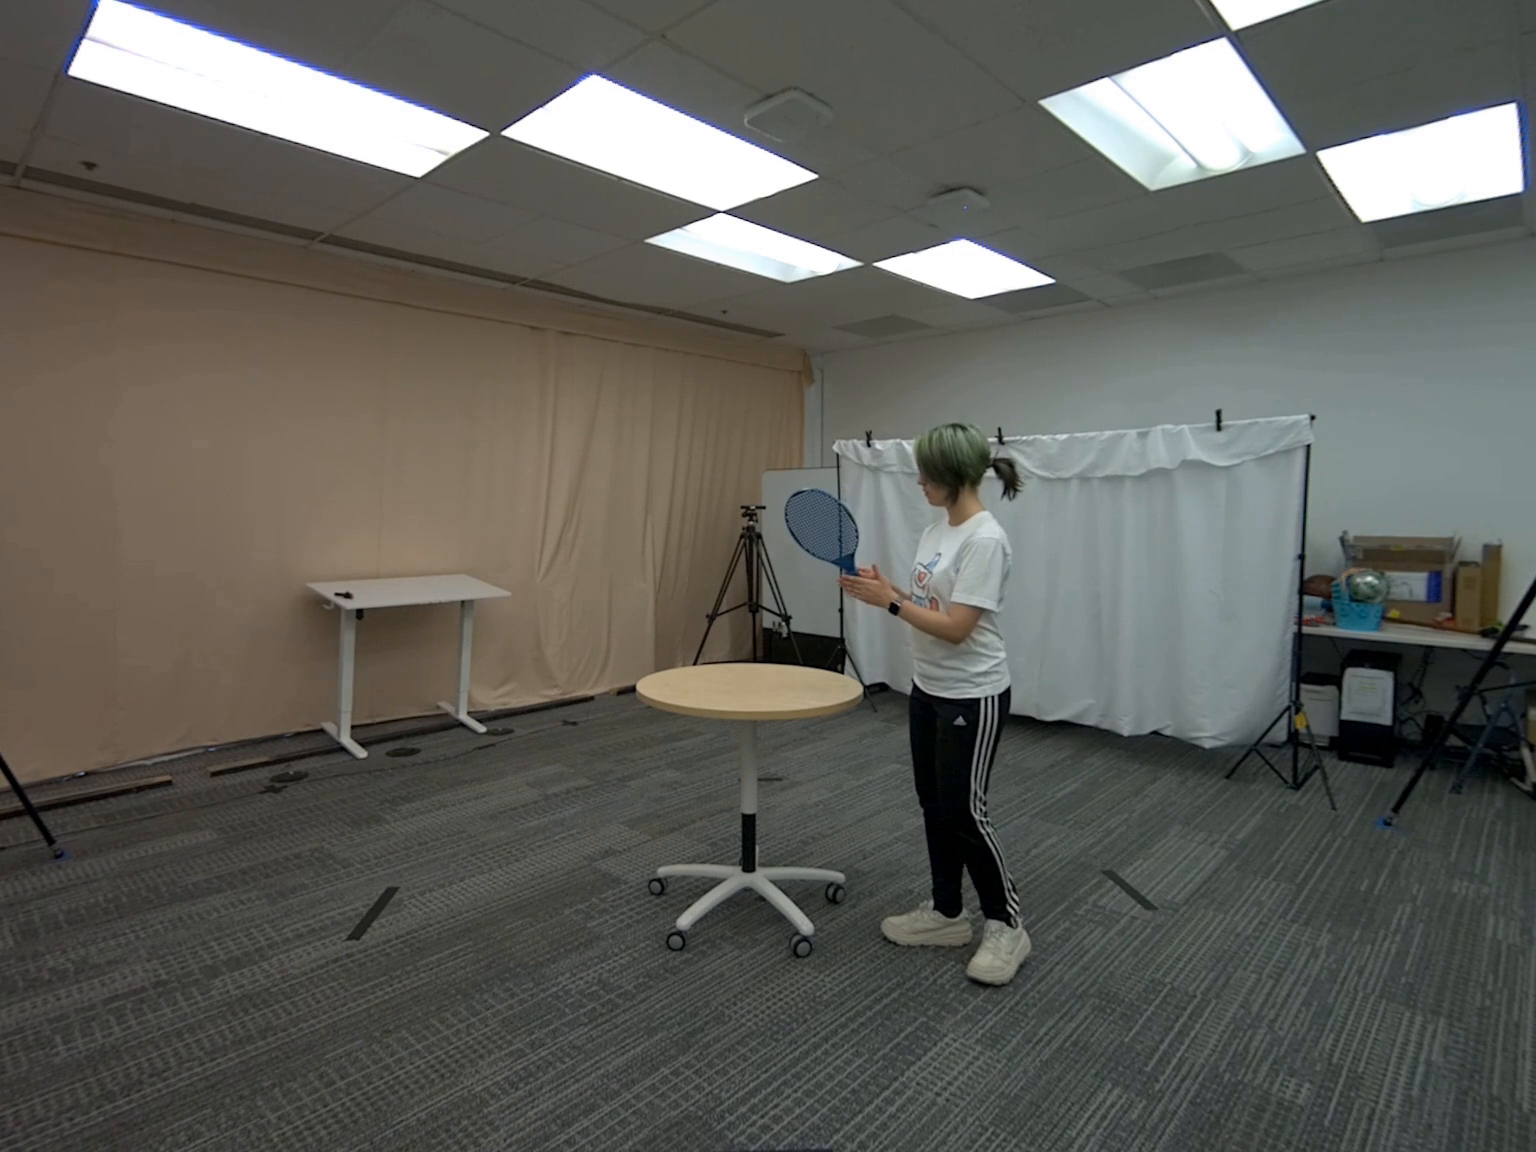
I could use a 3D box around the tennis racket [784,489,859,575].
[{"bbox_3d":[0.231,-0.089,2.560,0.217,0.429,0.031,-37,10,38],"label":"tennis racket"}]
